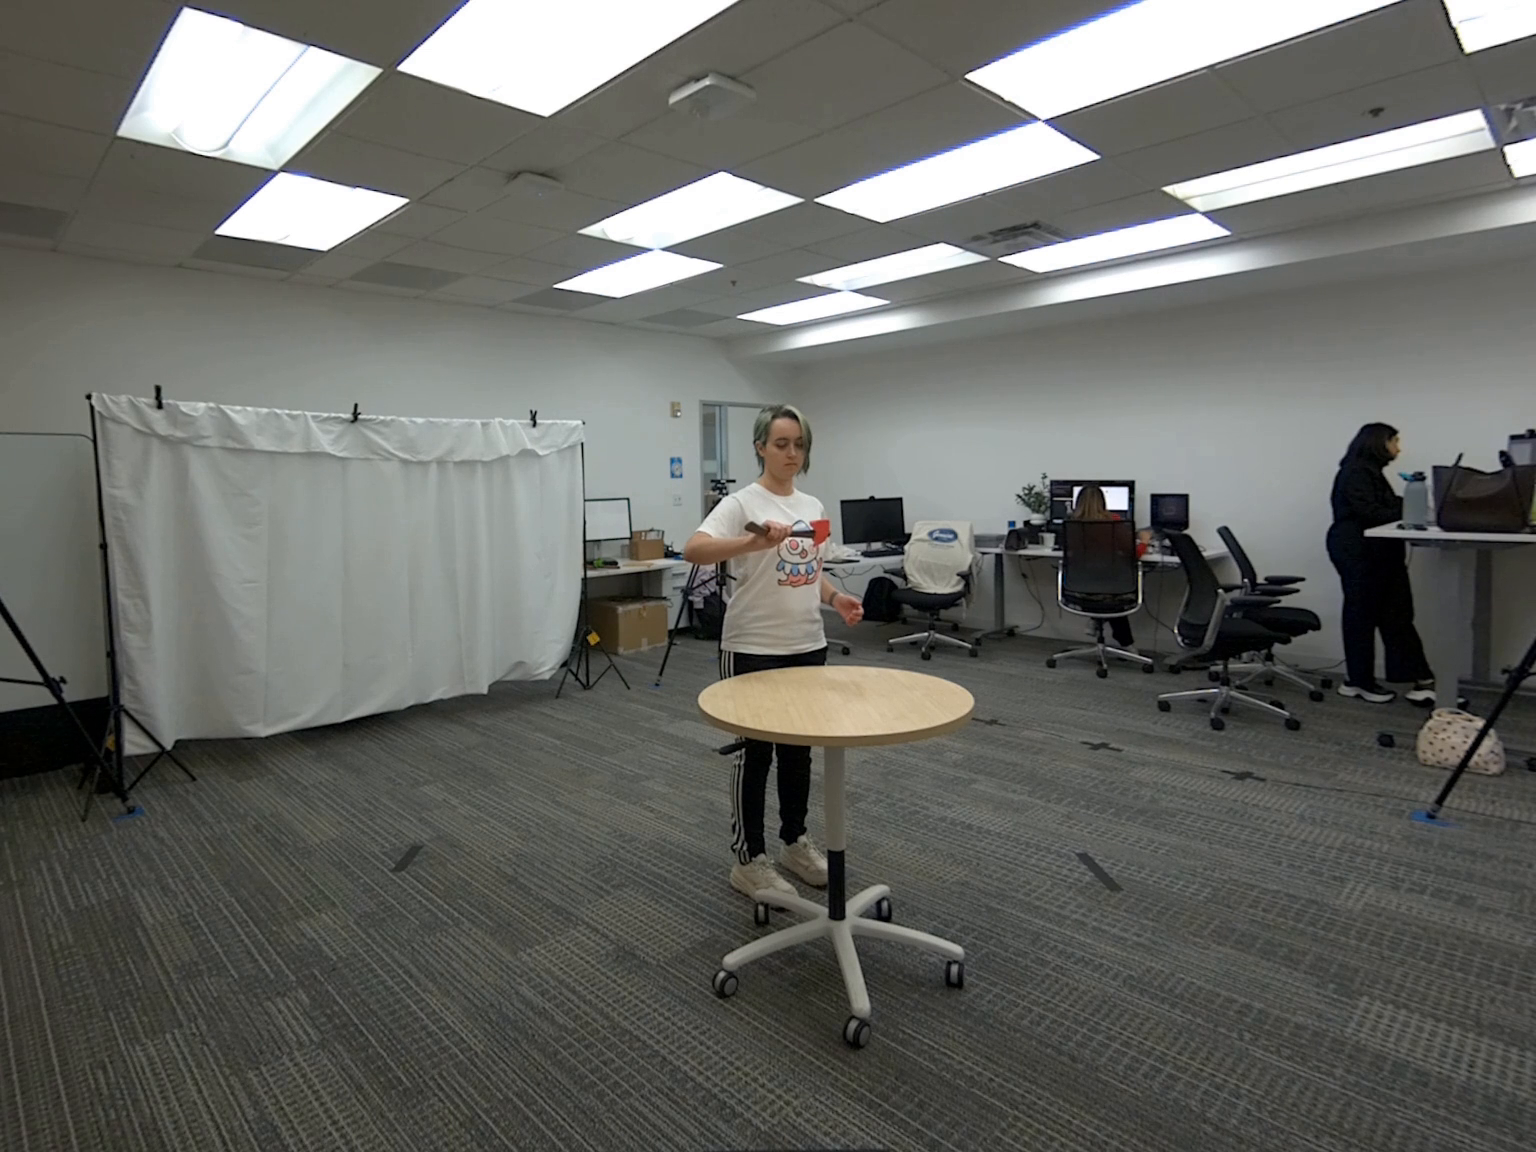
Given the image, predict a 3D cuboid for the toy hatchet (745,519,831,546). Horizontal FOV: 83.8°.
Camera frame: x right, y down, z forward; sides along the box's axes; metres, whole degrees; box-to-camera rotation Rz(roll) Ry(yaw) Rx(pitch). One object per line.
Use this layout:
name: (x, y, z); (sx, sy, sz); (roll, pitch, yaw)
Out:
toy hatchet: (0.048, -0.143, 2.527); (0.262, 0.030, 0.131); (12, -40, -31)
